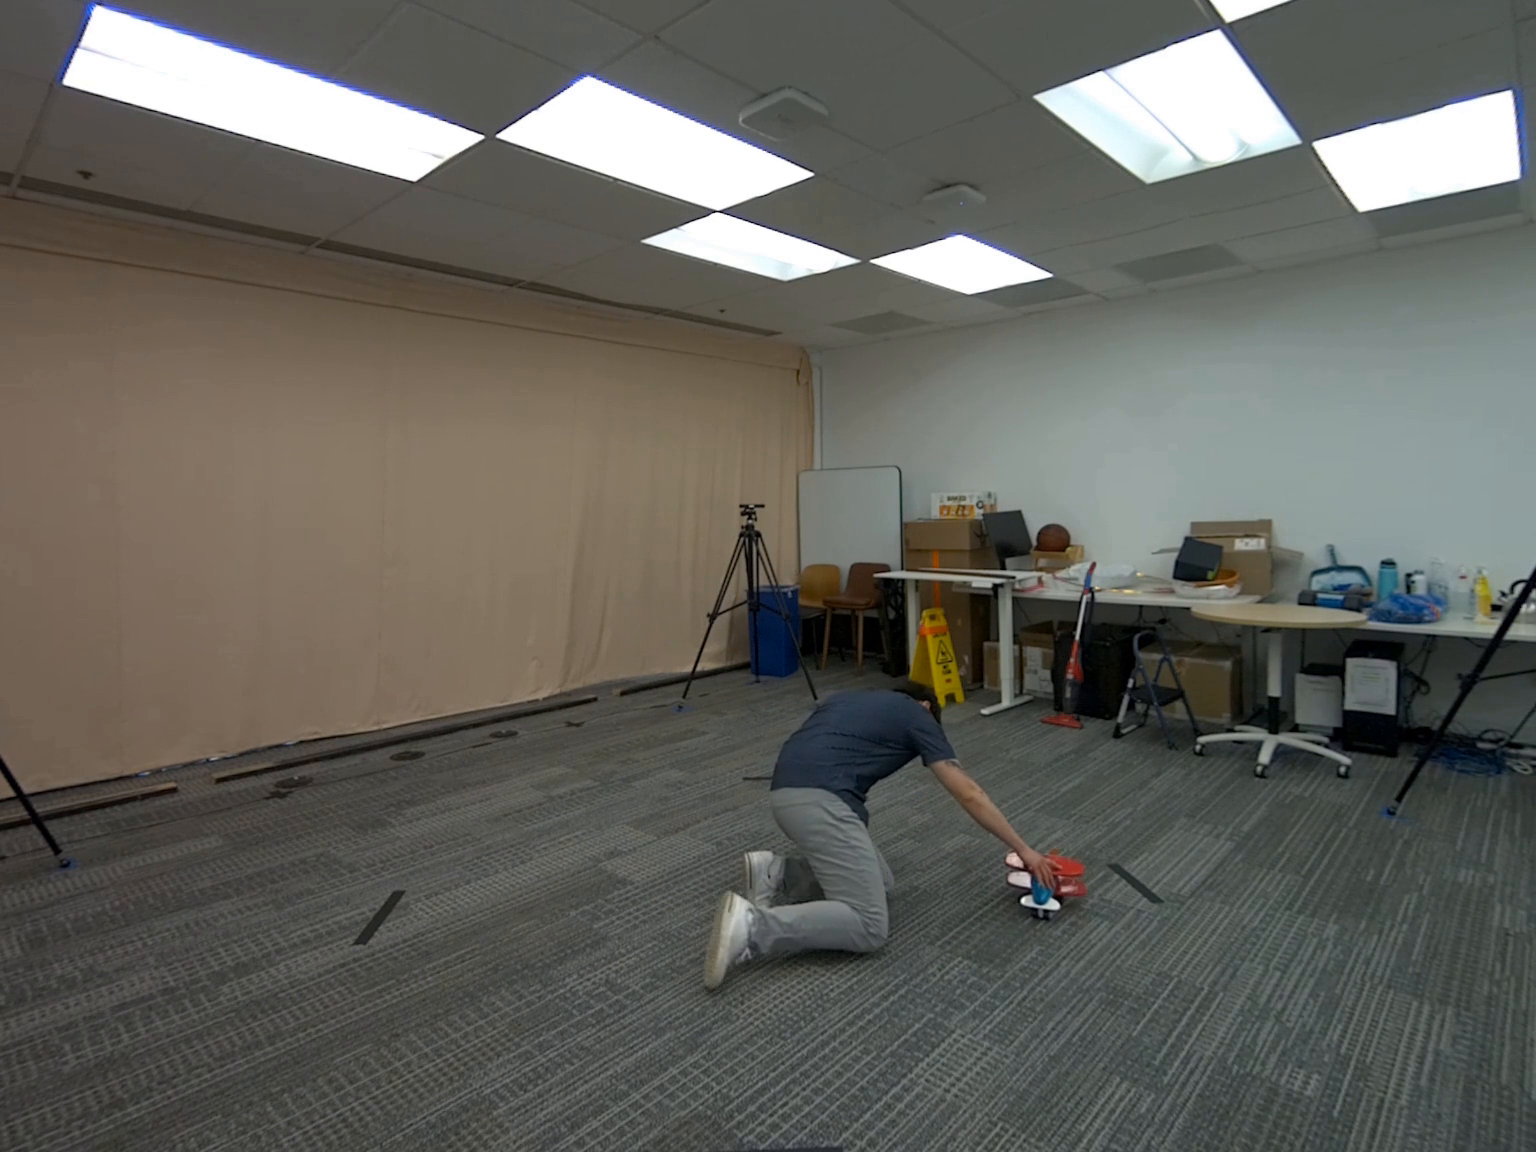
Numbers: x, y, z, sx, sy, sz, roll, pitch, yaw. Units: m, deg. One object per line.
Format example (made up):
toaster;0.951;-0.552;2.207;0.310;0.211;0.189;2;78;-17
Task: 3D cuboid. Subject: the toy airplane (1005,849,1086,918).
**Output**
toy airplane;0.971;1.064;2.867;0.251;0.156;0.260;-3;2;-2
